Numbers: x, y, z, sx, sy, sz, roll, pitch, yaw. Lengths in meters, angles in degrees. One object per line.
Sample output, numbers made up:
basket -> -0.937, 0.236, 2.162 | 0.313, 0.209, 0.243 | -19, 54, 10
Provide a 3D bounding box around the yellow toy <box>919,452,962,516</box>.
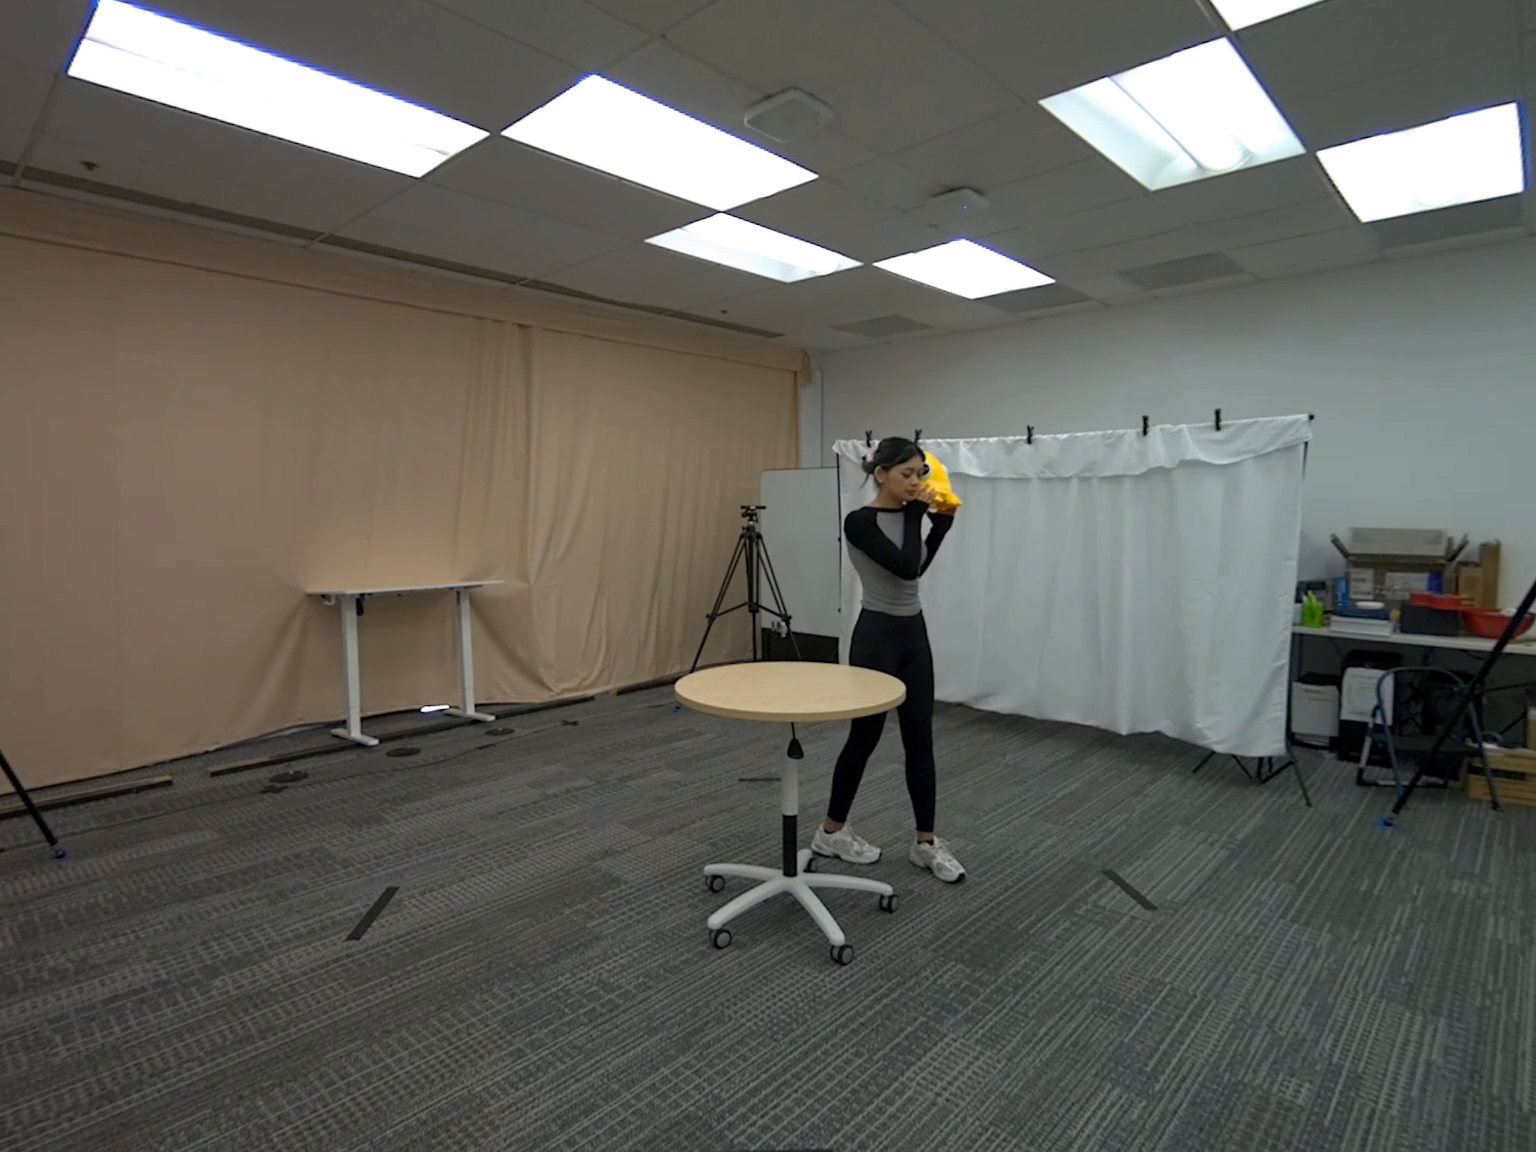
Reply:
yellow toy -> 0.648, -0.391, 3.293 | 0.198, 0.232, 0.198 | 8, -9, -37
